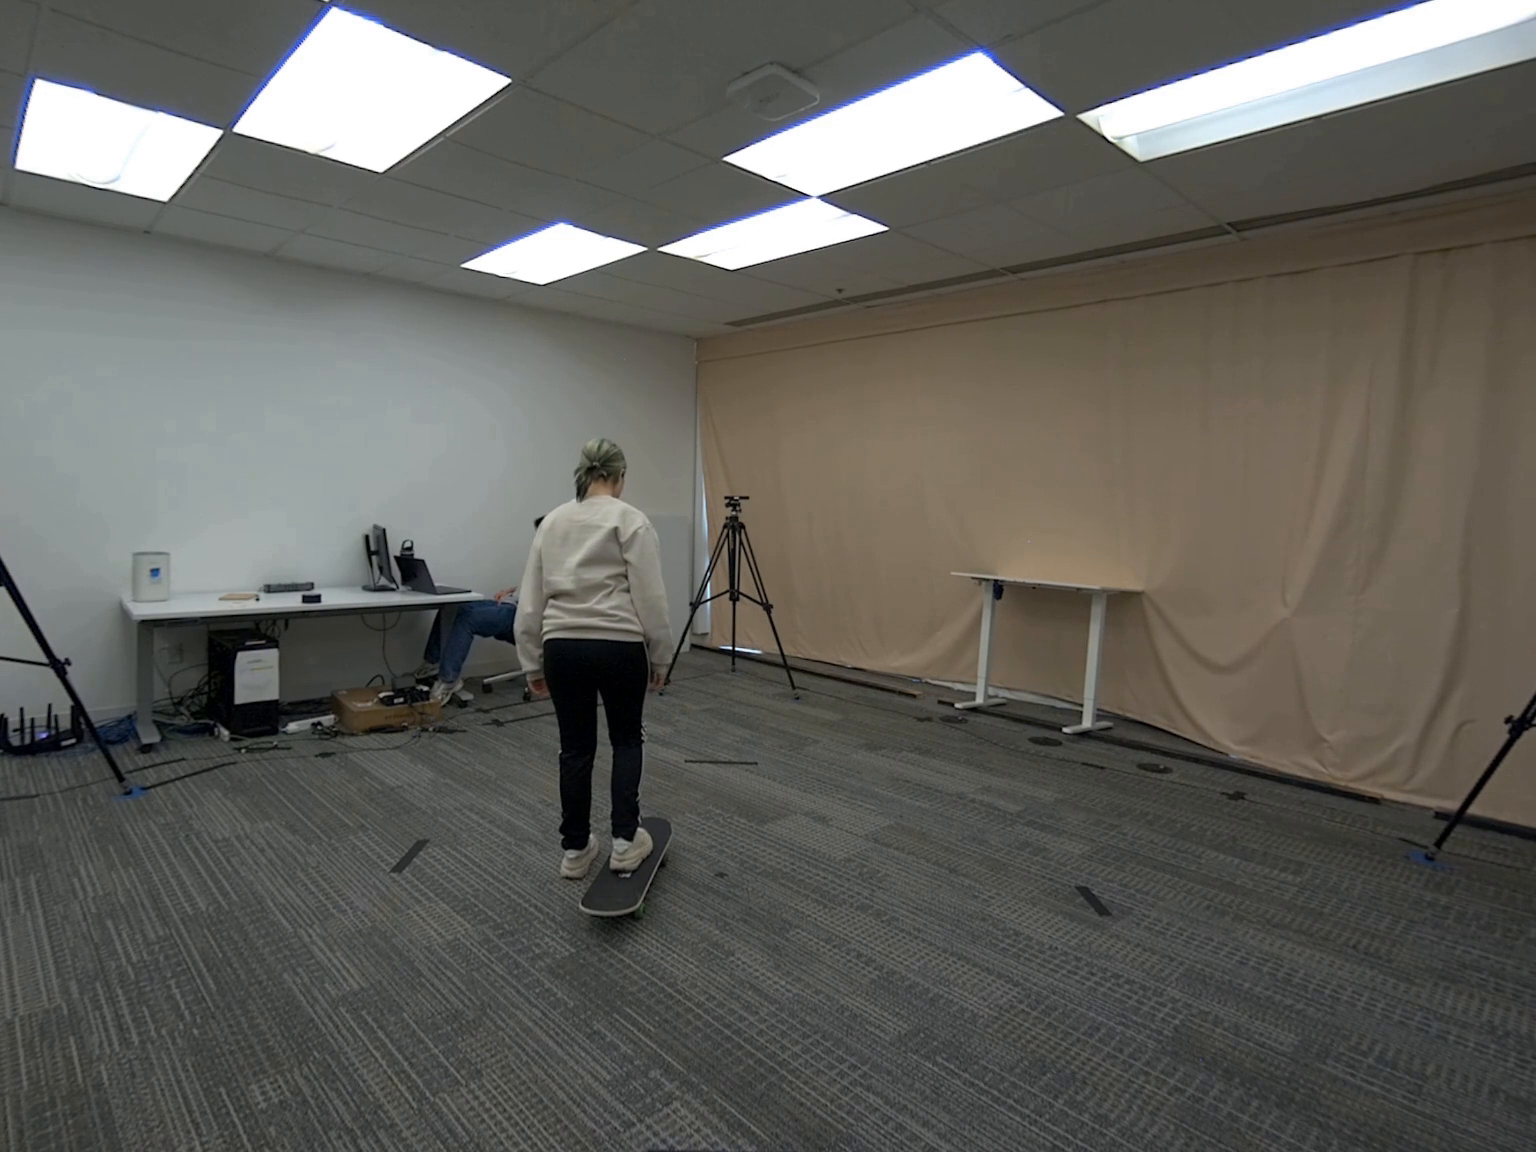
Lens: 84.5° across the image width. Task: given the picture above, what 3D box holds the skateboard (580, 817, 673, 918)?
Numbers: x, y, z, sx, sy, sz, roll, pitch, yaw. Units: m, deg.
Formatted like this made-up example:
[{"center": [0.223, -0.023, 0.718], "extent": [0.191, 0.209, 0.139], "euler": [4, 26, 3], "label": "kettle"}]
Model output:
[{"center": [-0.496, 1.049, 2.980], "extent": [0.194, 0.110, 0.785], "euler": [1, 5, 3], "label": "skateboard"}]
